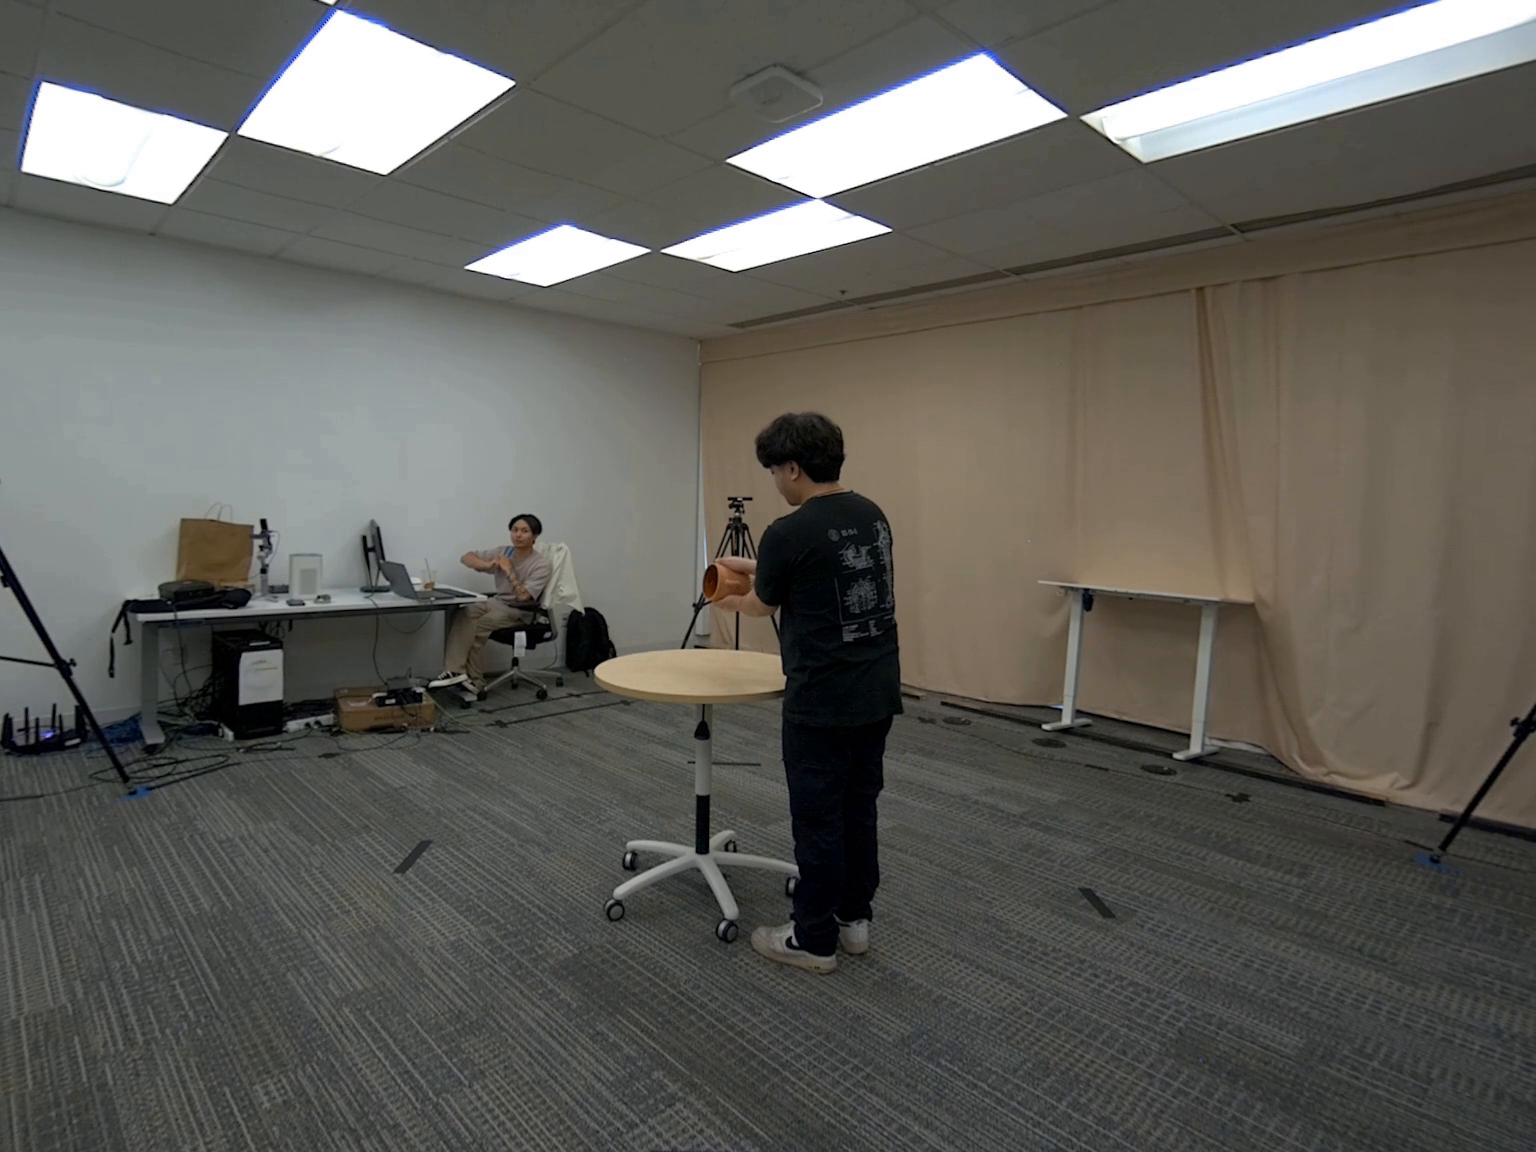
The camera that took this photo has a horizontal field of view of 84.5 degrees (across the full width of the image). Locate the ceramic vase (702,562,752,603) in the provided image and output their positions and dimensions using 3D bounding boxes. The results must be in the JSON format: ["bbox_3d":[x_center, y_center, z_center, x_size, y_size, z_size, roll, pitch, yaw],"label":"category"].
[{"bbox_3d":[-0.115,0.031,2.941,0.215,0.134,0.163,9,38,-28],"label":"ceramic vase"}]
